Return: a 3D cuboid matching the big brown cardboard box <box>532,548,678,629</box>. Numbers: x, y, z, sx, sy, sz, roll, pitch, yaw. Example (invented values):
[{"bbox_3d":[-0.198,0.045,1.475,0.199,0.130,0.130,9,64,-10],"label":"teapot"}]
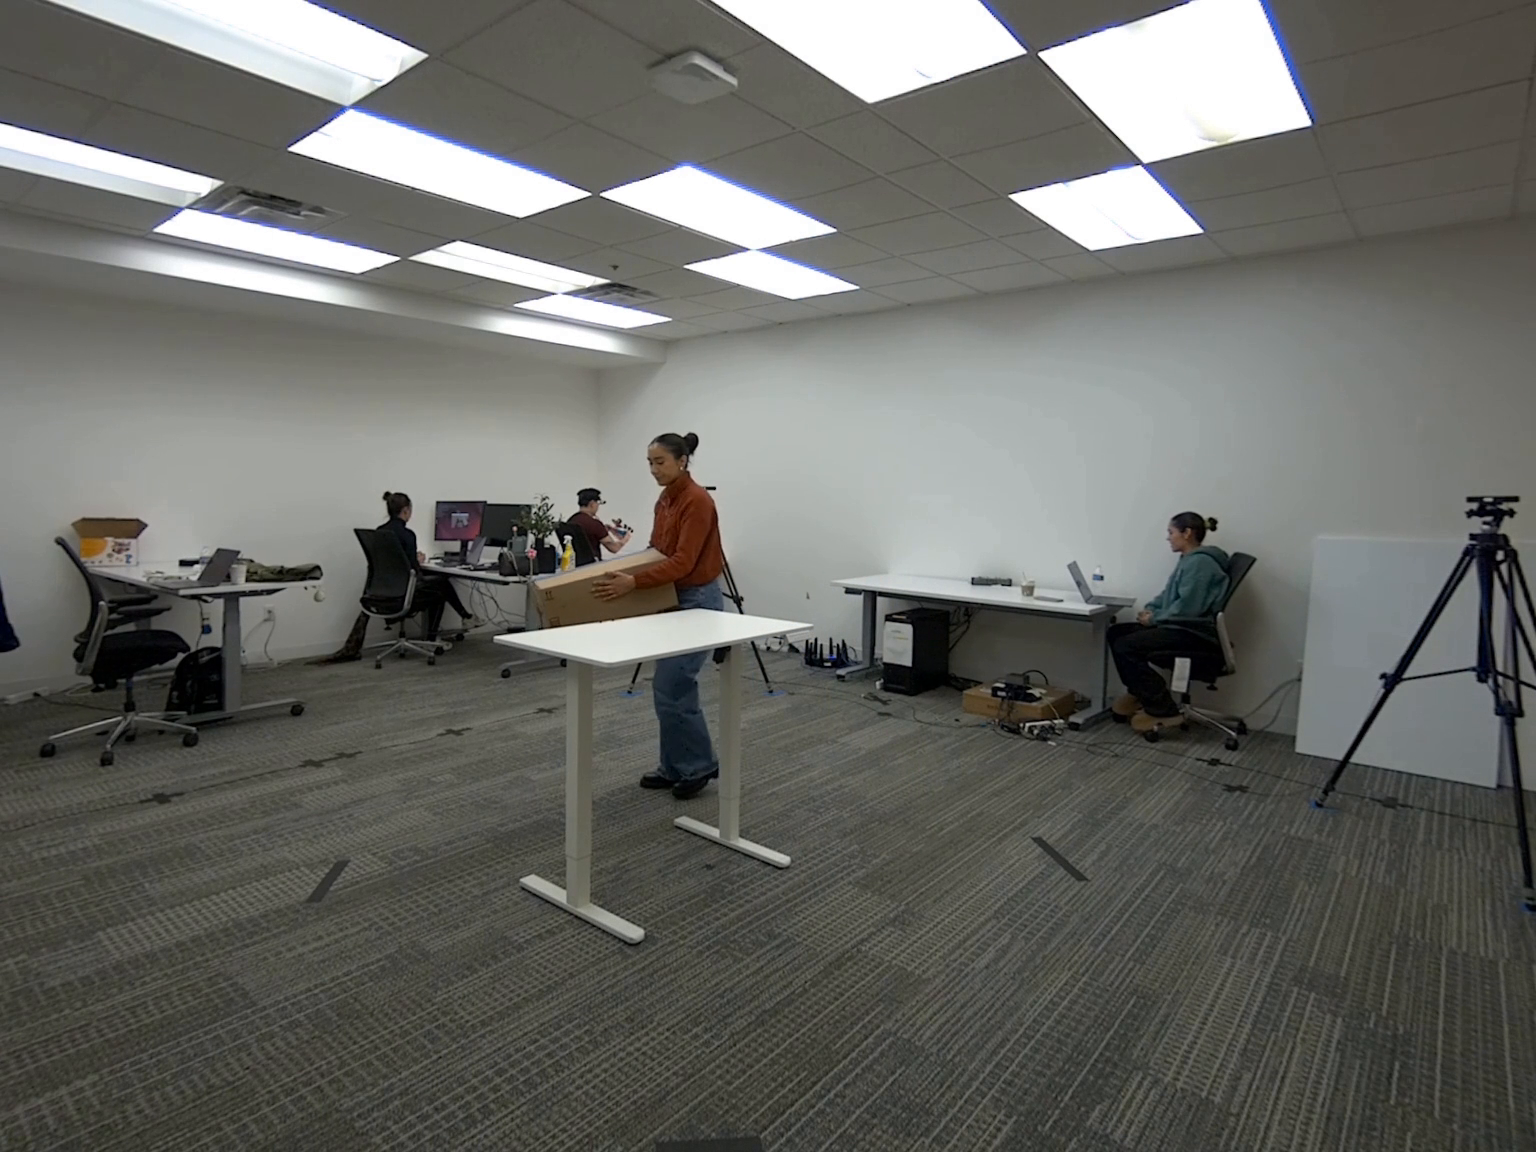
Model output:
[{"bbox_3d":[-0.755,0.070,3.775,0.581,0.231,0.427,-14,10,-18],"label":"big brown cardboard box"}]
